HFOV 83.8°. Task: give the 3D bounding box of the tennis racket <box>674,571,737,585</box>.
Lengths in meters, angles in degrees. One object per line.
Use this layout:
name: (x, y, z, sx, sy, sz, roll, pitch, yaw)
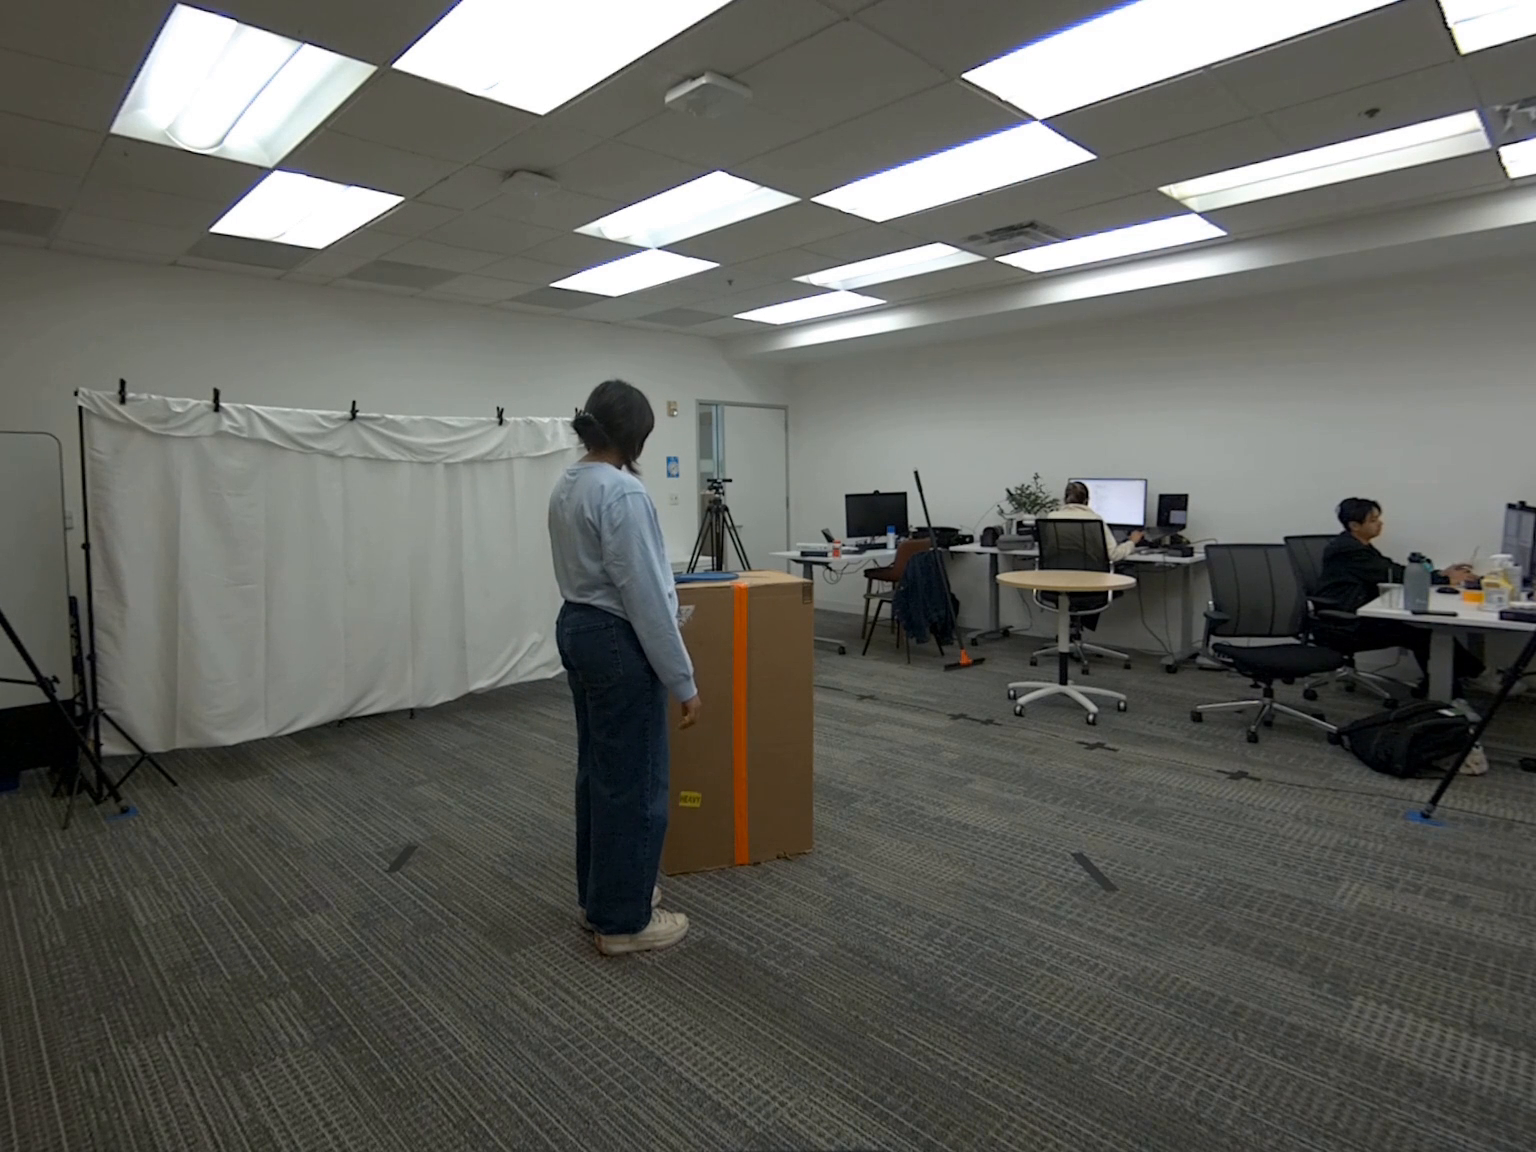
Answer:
tennis racket: (-0.269, 0.011, 3.184, 0.220, 0.031, 0.422, 5, 8, 39)
